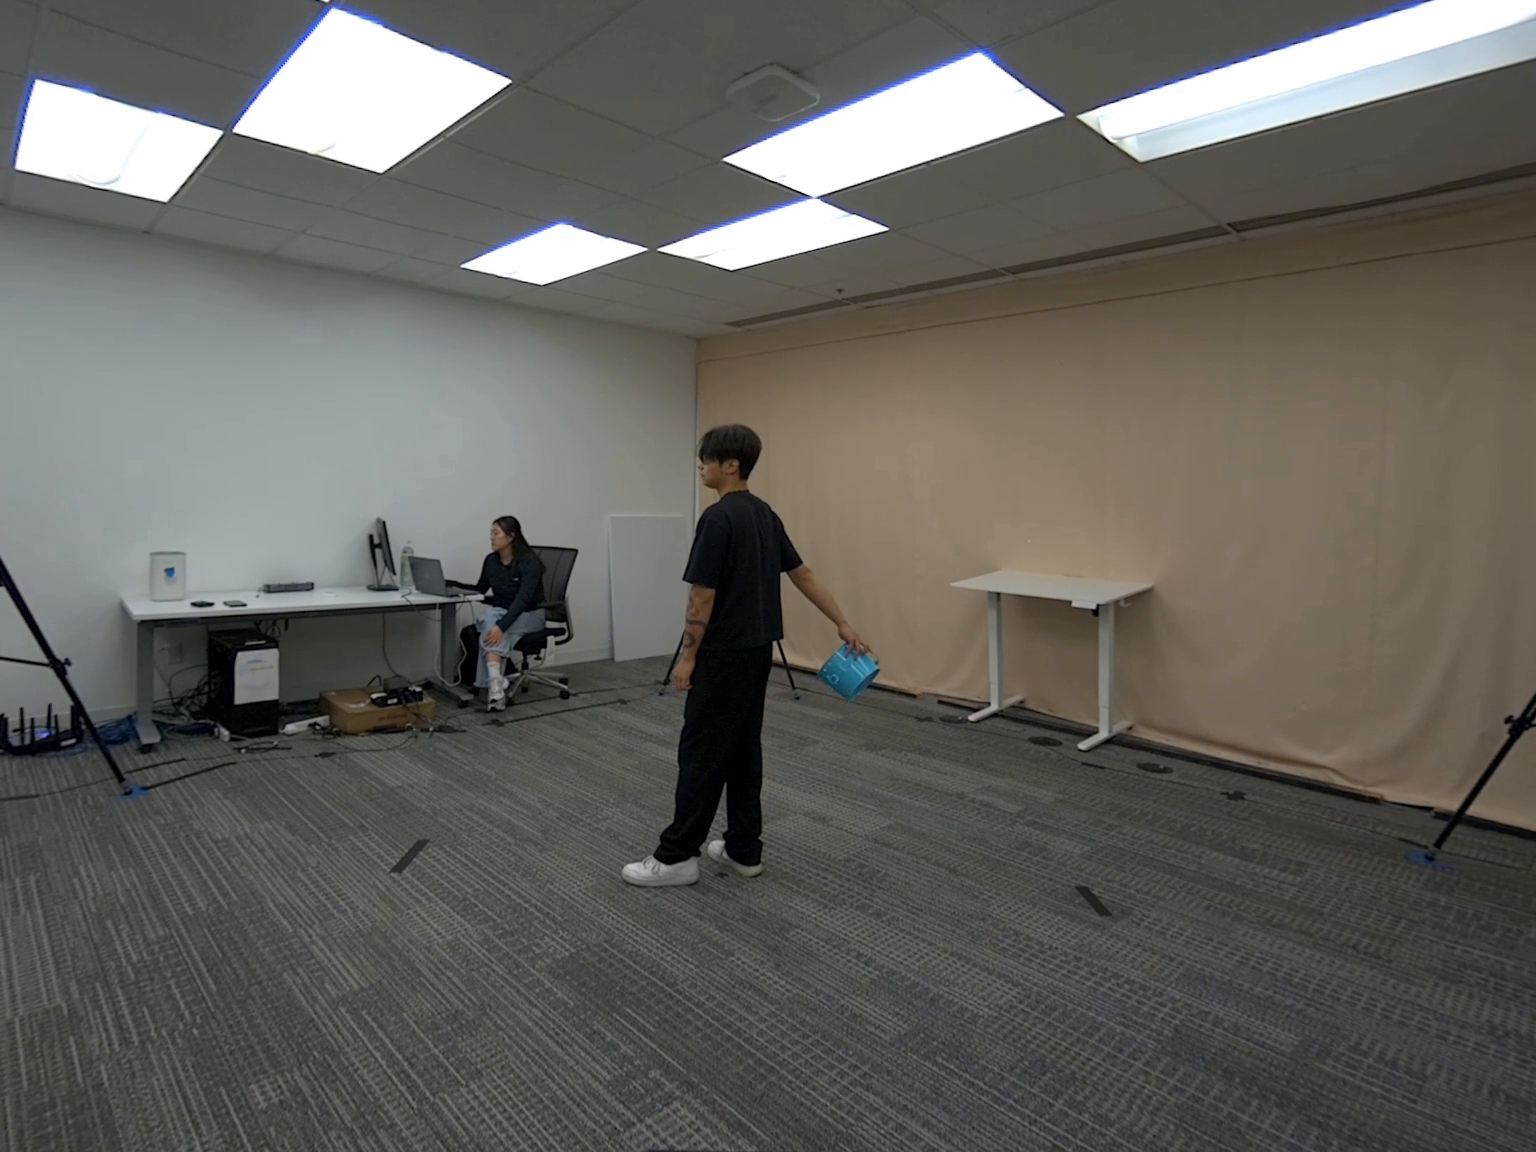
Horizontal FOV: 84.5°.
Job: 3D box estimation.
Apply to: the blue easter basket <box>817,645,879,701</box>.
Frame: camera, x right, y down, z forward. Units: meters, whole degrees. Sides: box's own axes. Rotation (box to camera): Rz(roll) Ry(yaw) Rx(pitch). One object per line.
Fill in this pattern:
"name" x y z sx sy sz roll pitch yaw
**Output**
"blue easter basket" 0.319 0.385 3.375 0.159 0.243 0.239 42 21 19
